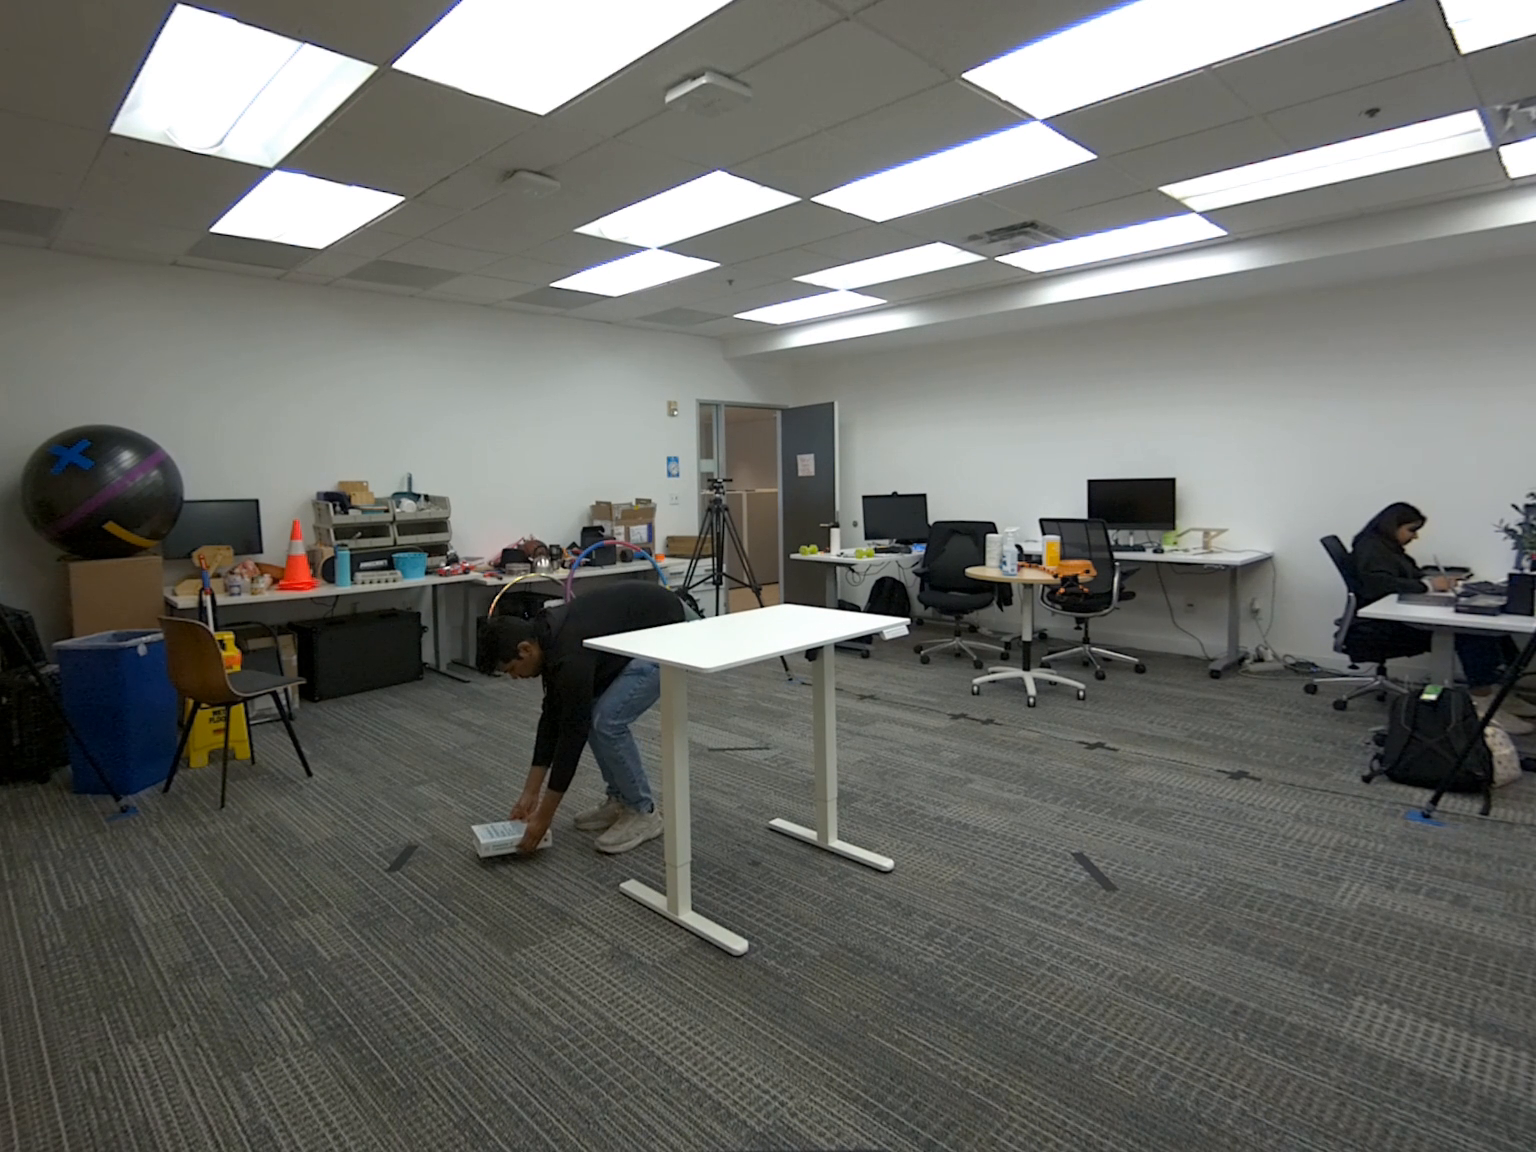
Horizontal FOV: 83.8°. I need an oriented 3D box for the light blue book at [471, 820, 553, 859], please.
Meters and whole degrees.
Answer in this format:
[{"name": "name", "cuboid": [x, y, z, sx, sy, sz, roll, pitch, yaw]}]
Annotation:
[{"name": "light blue book", "cuboid": [-0.960, 0.977, 3.214, 0.255, 0.059, 0.196, 0, 2, -27]}]
